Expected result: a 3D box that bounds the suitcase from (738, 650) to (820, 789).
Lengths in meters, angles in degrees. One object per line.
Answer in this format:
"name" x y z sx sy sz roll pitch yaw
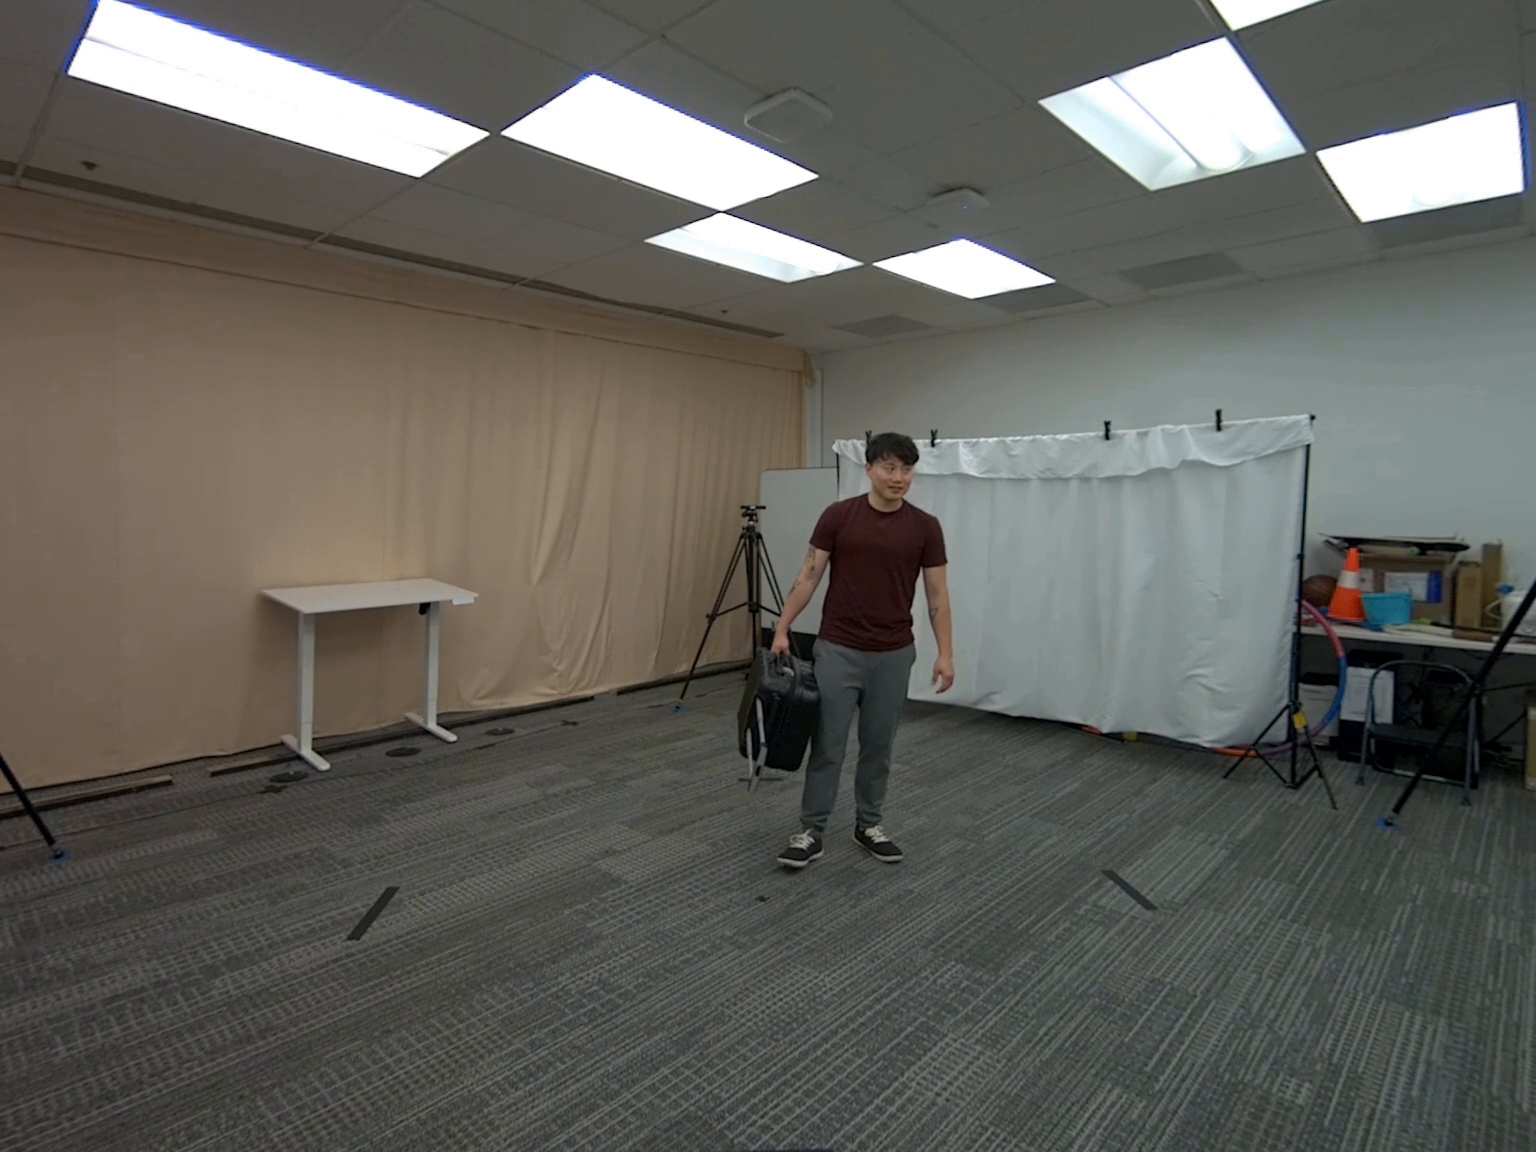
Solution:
"suitcase" 0.051 0.546 3.172 0.256 0.383 0.985 13 6 -5
